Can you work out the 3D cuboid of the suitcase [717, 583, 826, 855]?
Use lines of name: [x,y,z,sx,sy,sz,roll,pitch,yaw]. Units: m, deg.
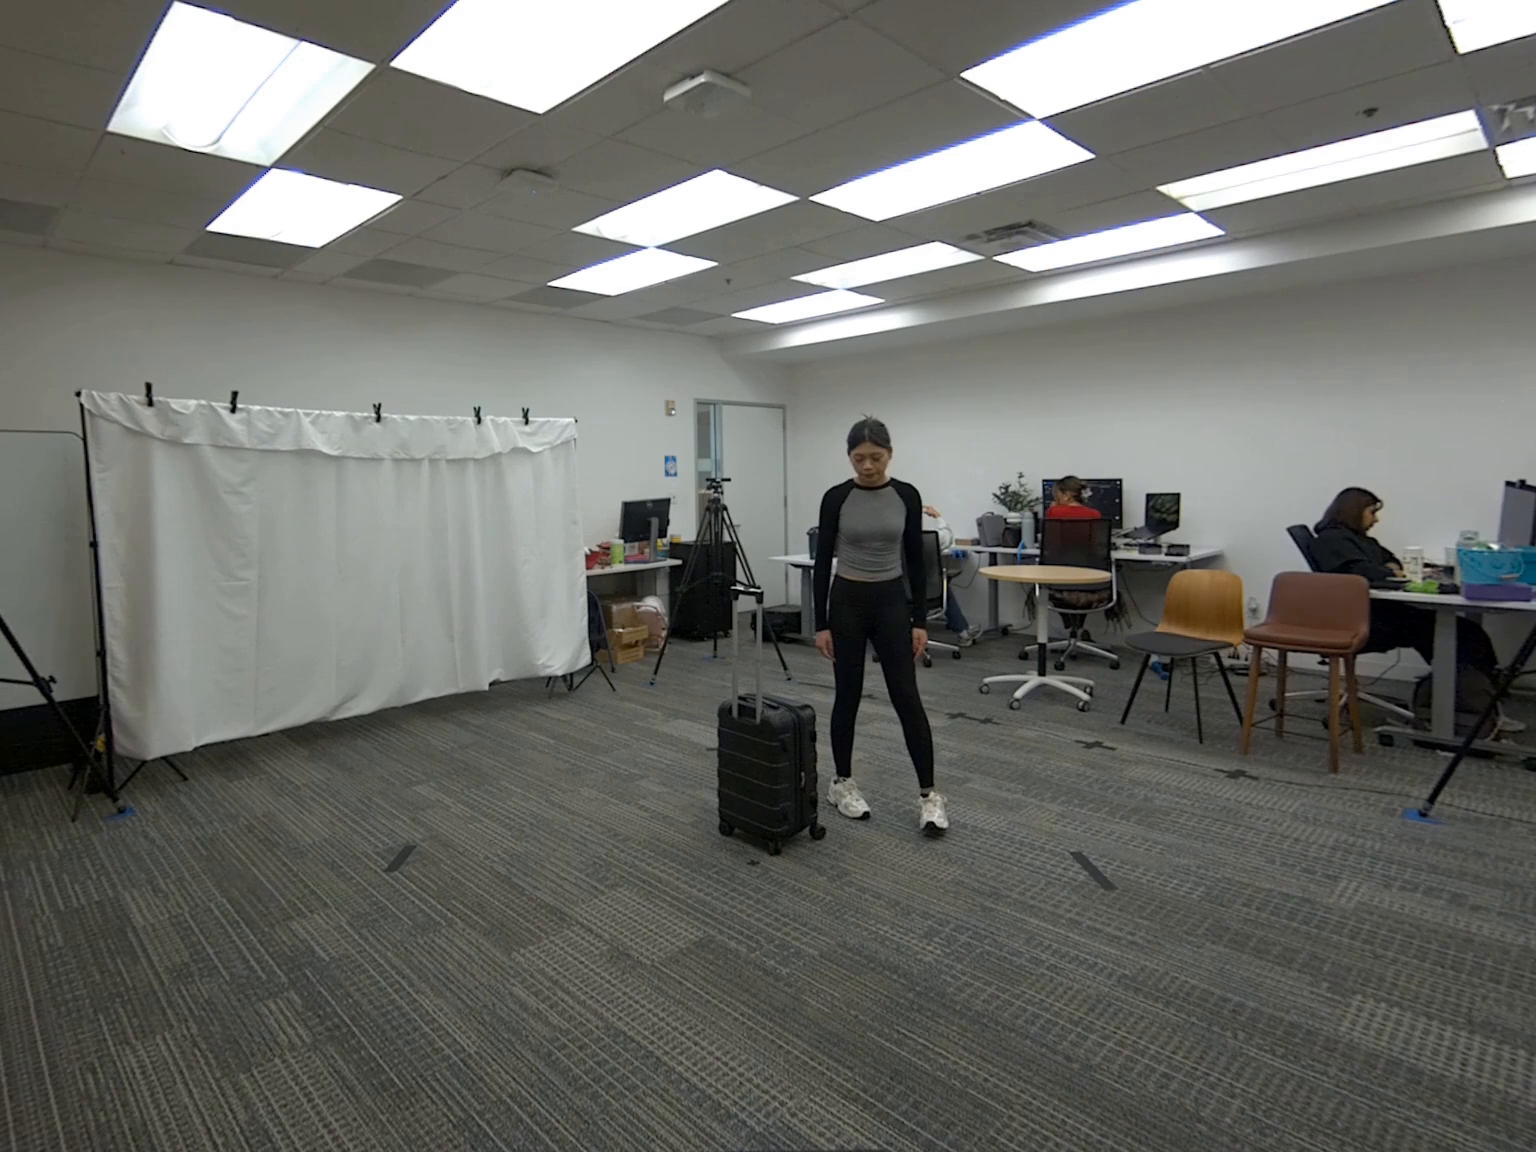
suitcase: [-0.003,0.537,3.315,0.396,0.976,0.250,3,3,45]
